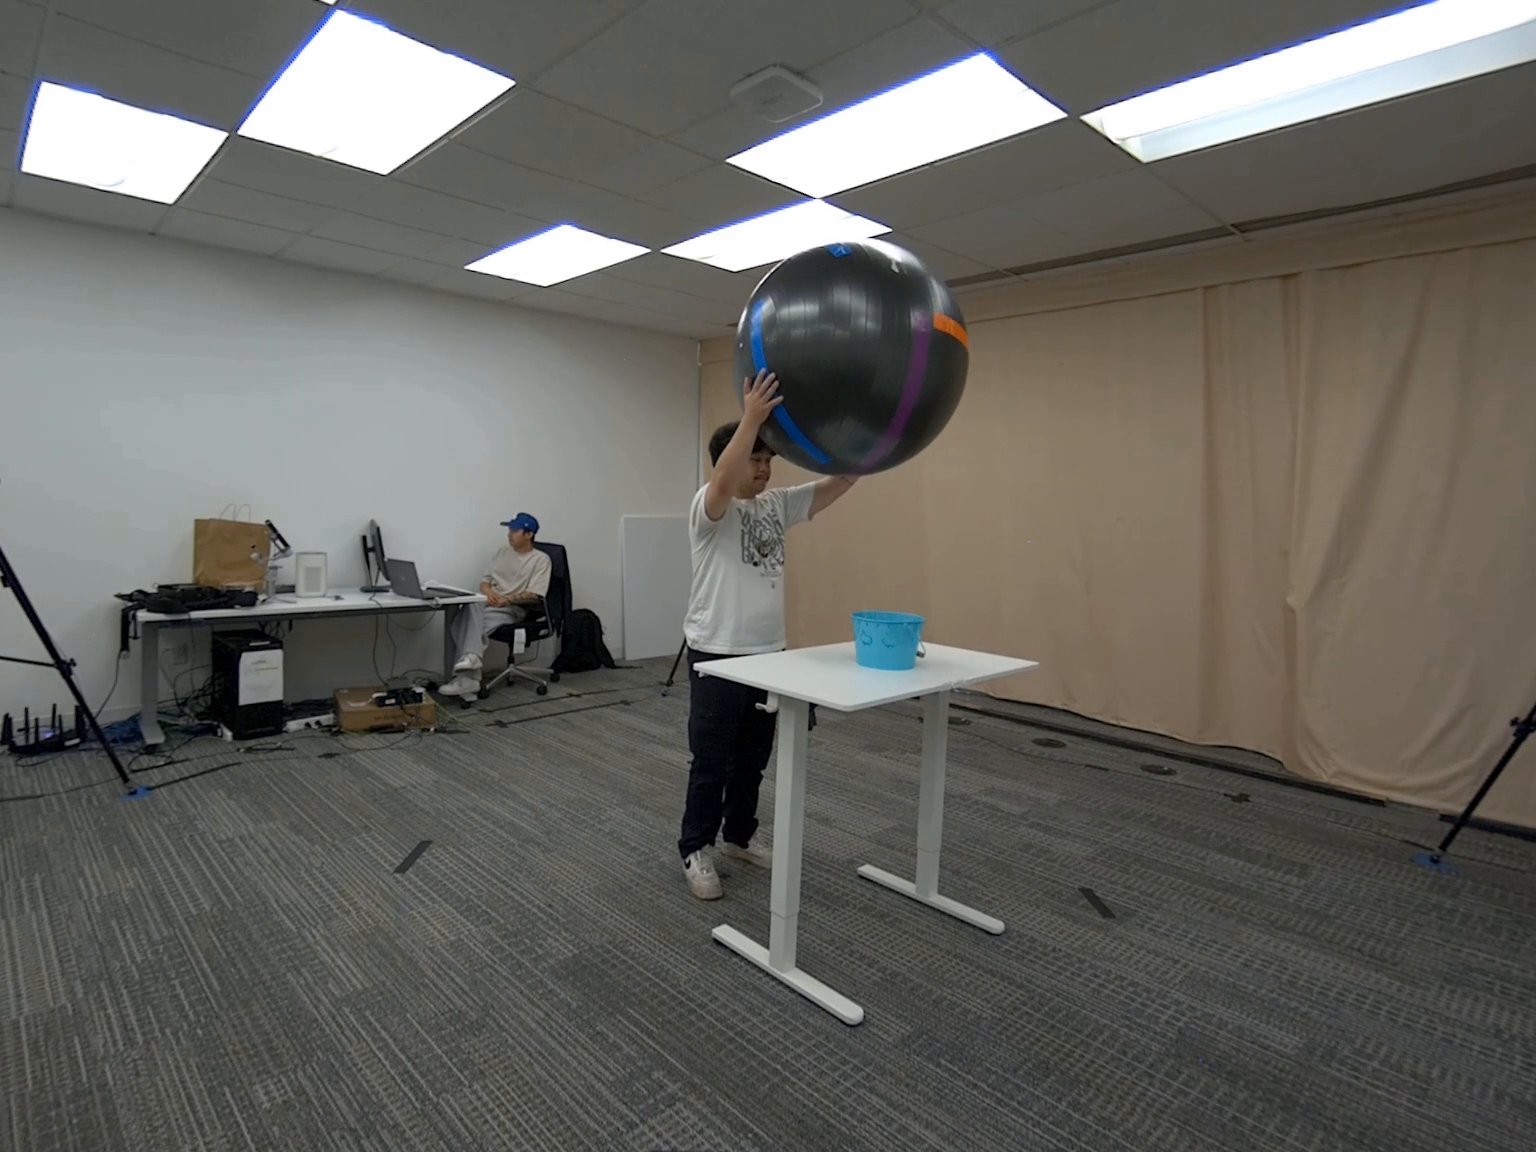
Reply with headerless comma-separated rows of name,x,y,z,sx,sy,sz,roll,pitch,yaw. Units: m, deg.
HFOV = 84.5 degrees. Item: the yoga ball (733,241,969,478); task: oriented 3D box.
yoga ball,0.258,-0.692,2.738,0.757,0.756,0.761,1,4,-1
